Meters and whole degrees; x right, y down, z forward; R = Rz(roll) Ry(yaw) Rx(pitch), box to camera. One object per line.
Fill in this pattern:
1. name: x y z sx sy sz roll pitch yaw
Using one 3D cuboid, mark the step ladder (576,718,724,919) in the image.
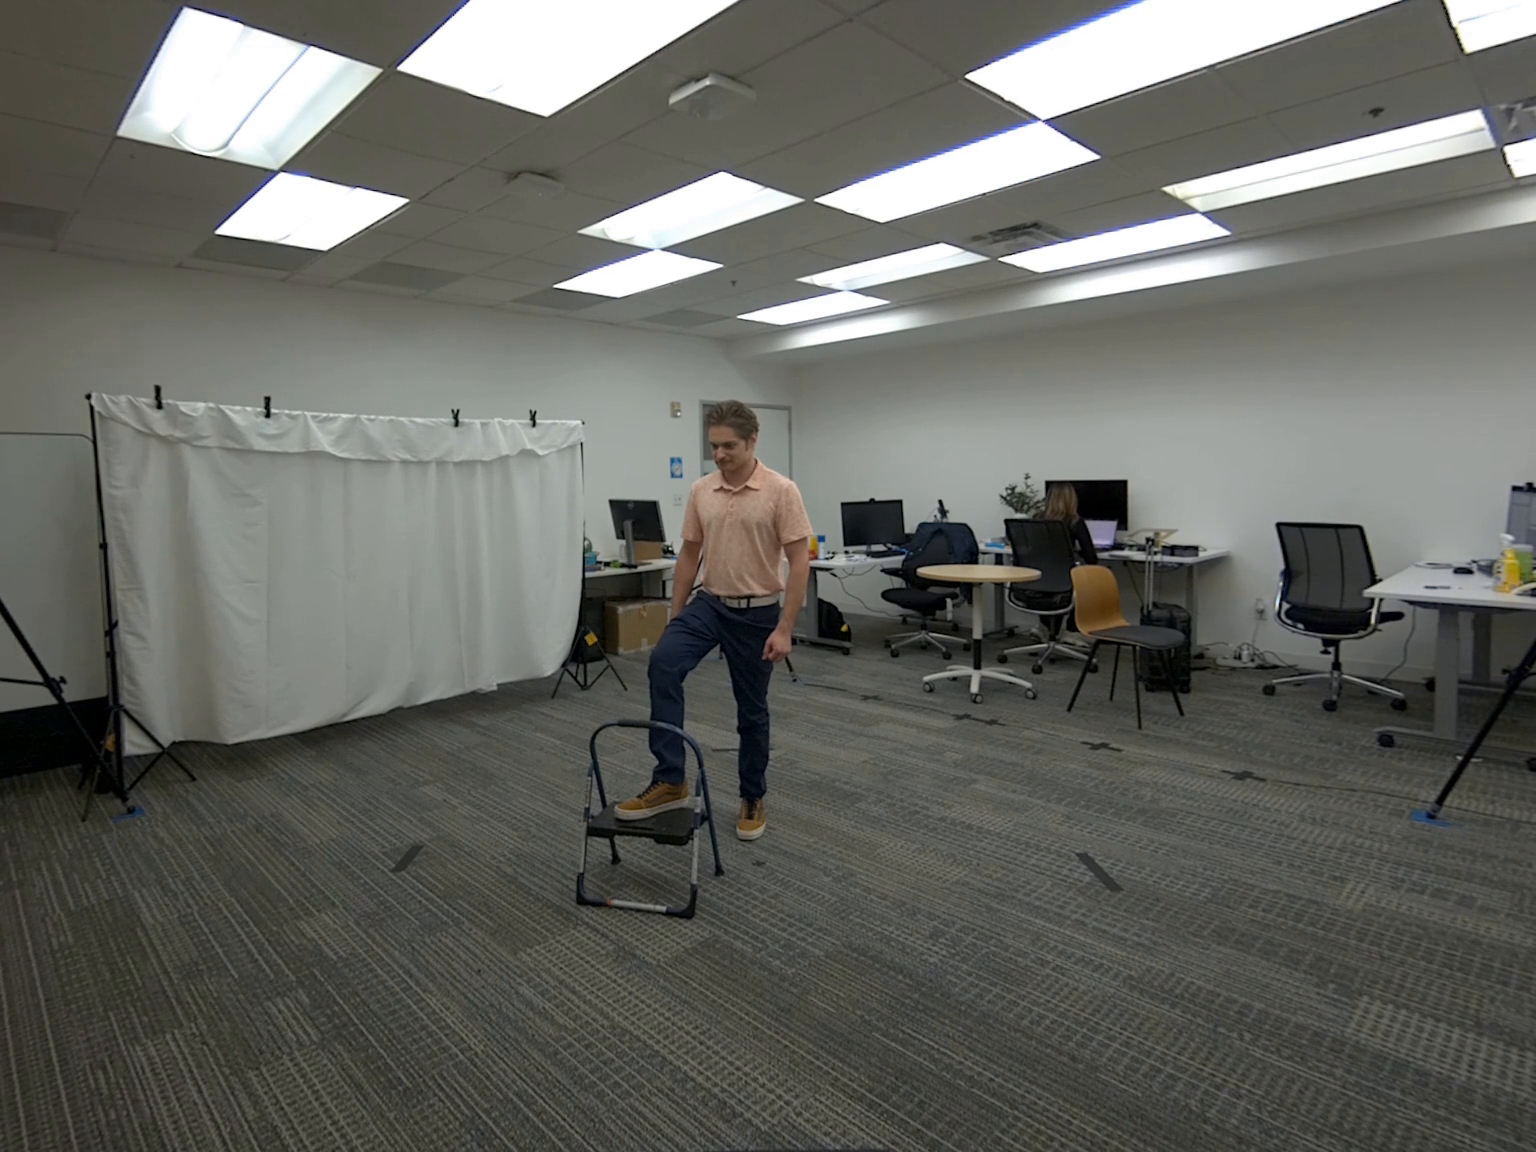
1. step ladder: -0.406 0.774 2.918 0.437 0.603 0.345 1 5 15
